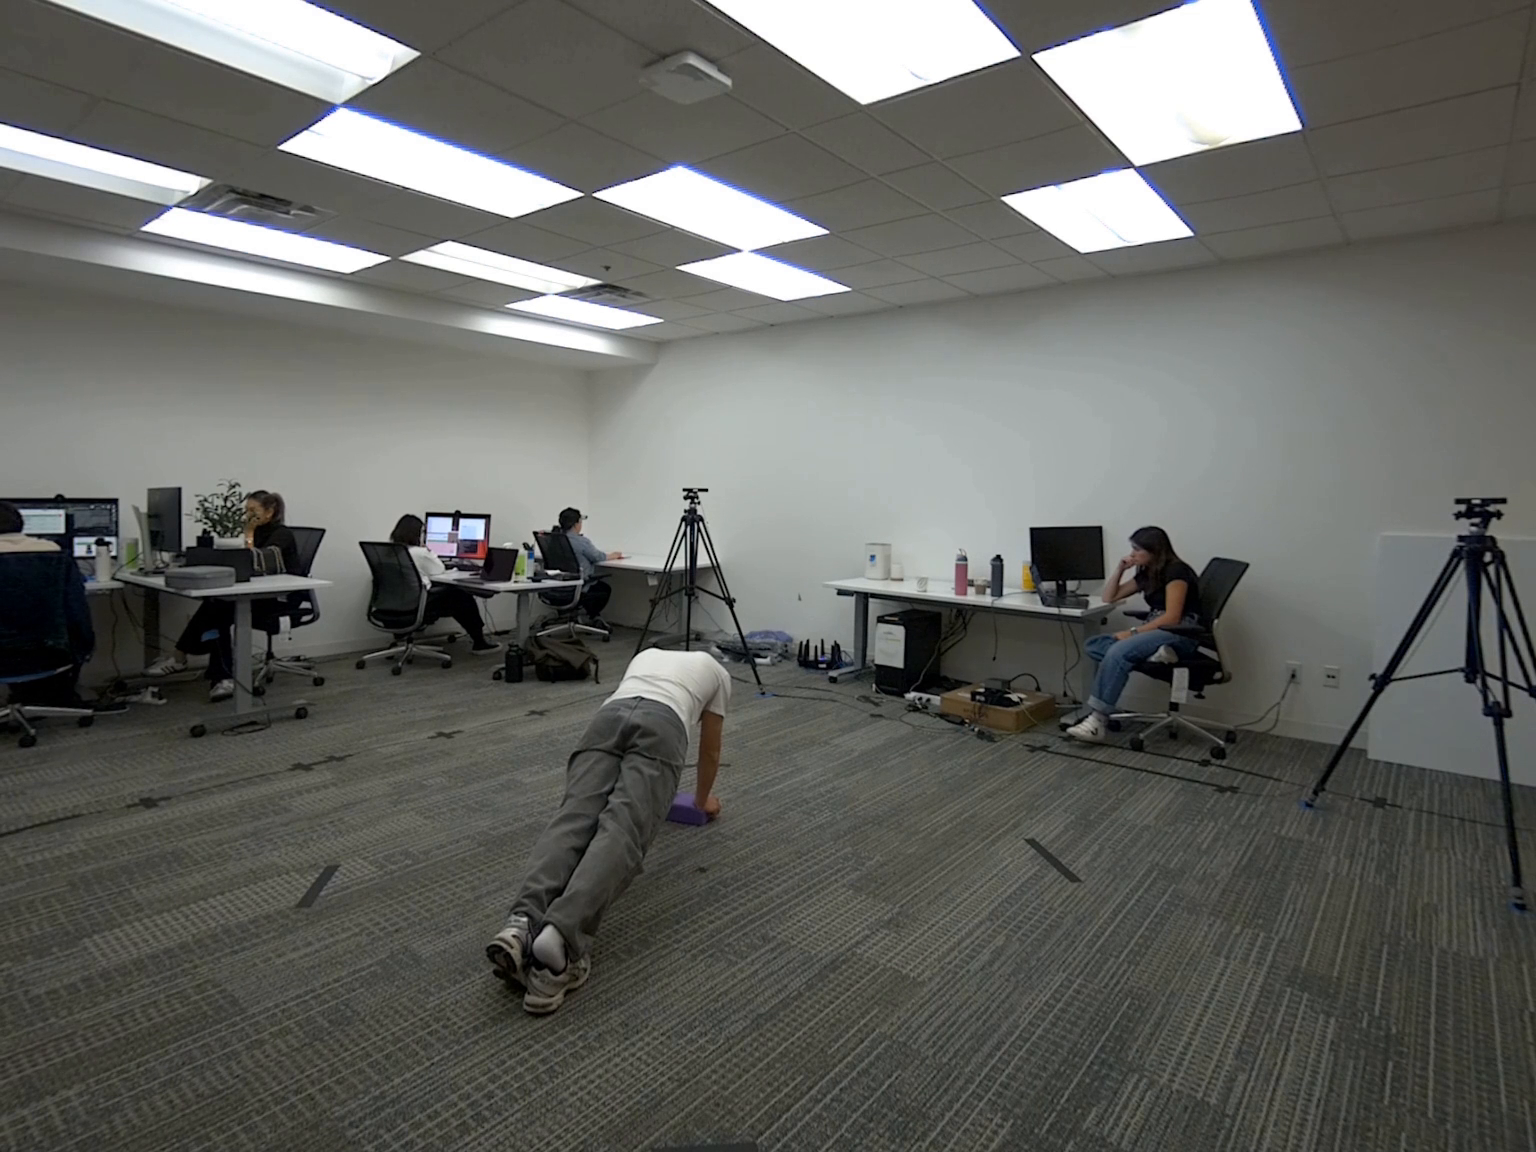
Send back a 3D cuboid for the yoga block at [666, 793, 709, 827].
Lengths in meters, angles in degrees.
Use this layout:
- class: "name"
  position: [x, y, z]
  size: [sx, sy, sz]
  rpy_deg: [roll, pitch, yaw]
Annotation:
- class: "yoga block"
  position: [-0.355, 0.978, 3.614]
  size: [0.234, 0.076, 0.146]
  rpy_deg: [2, 4, 21]
